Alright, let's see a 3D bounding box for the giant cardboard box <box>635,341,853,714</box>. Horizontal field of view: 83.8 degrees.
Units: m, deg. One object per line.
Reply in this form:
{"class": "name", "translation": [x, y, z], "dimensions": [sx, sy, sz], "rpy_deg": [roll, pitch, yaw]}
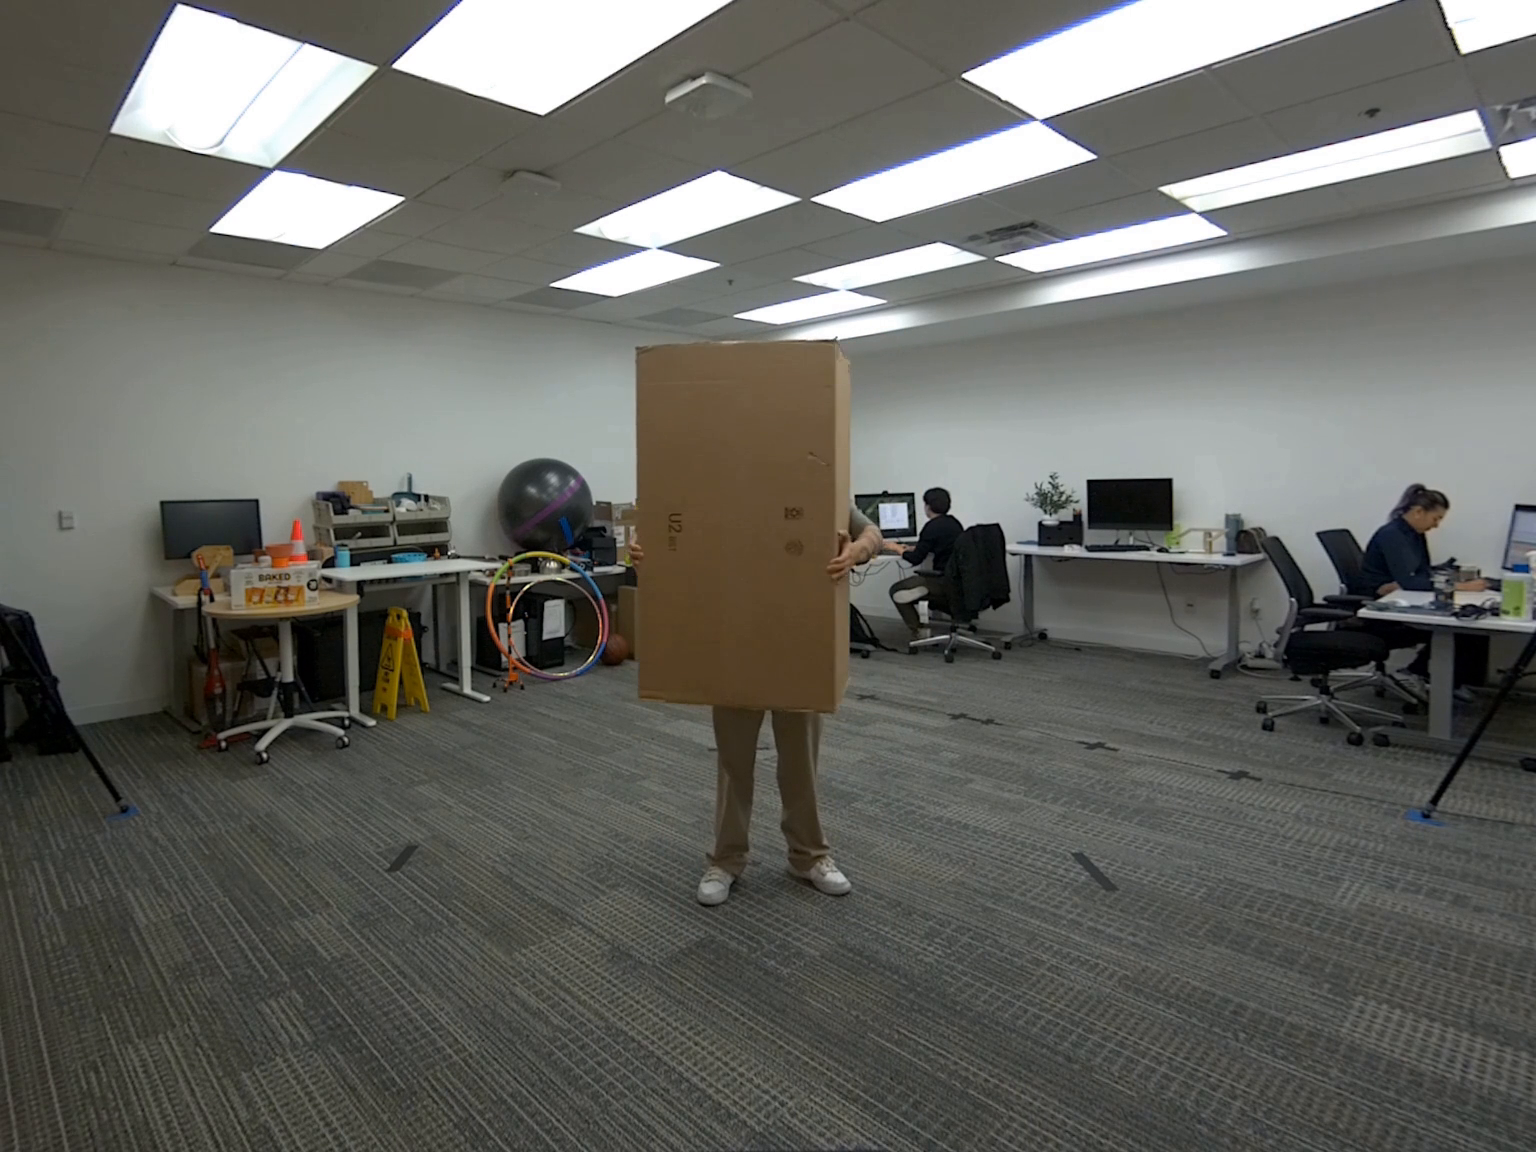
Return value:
{"class": "giant cardboard box", "translation": [-0.055, -0.162, 2.583], "dimensions": [0.585, 1.023, 0.422], "rpy_deg": [1, 3, 12]}
